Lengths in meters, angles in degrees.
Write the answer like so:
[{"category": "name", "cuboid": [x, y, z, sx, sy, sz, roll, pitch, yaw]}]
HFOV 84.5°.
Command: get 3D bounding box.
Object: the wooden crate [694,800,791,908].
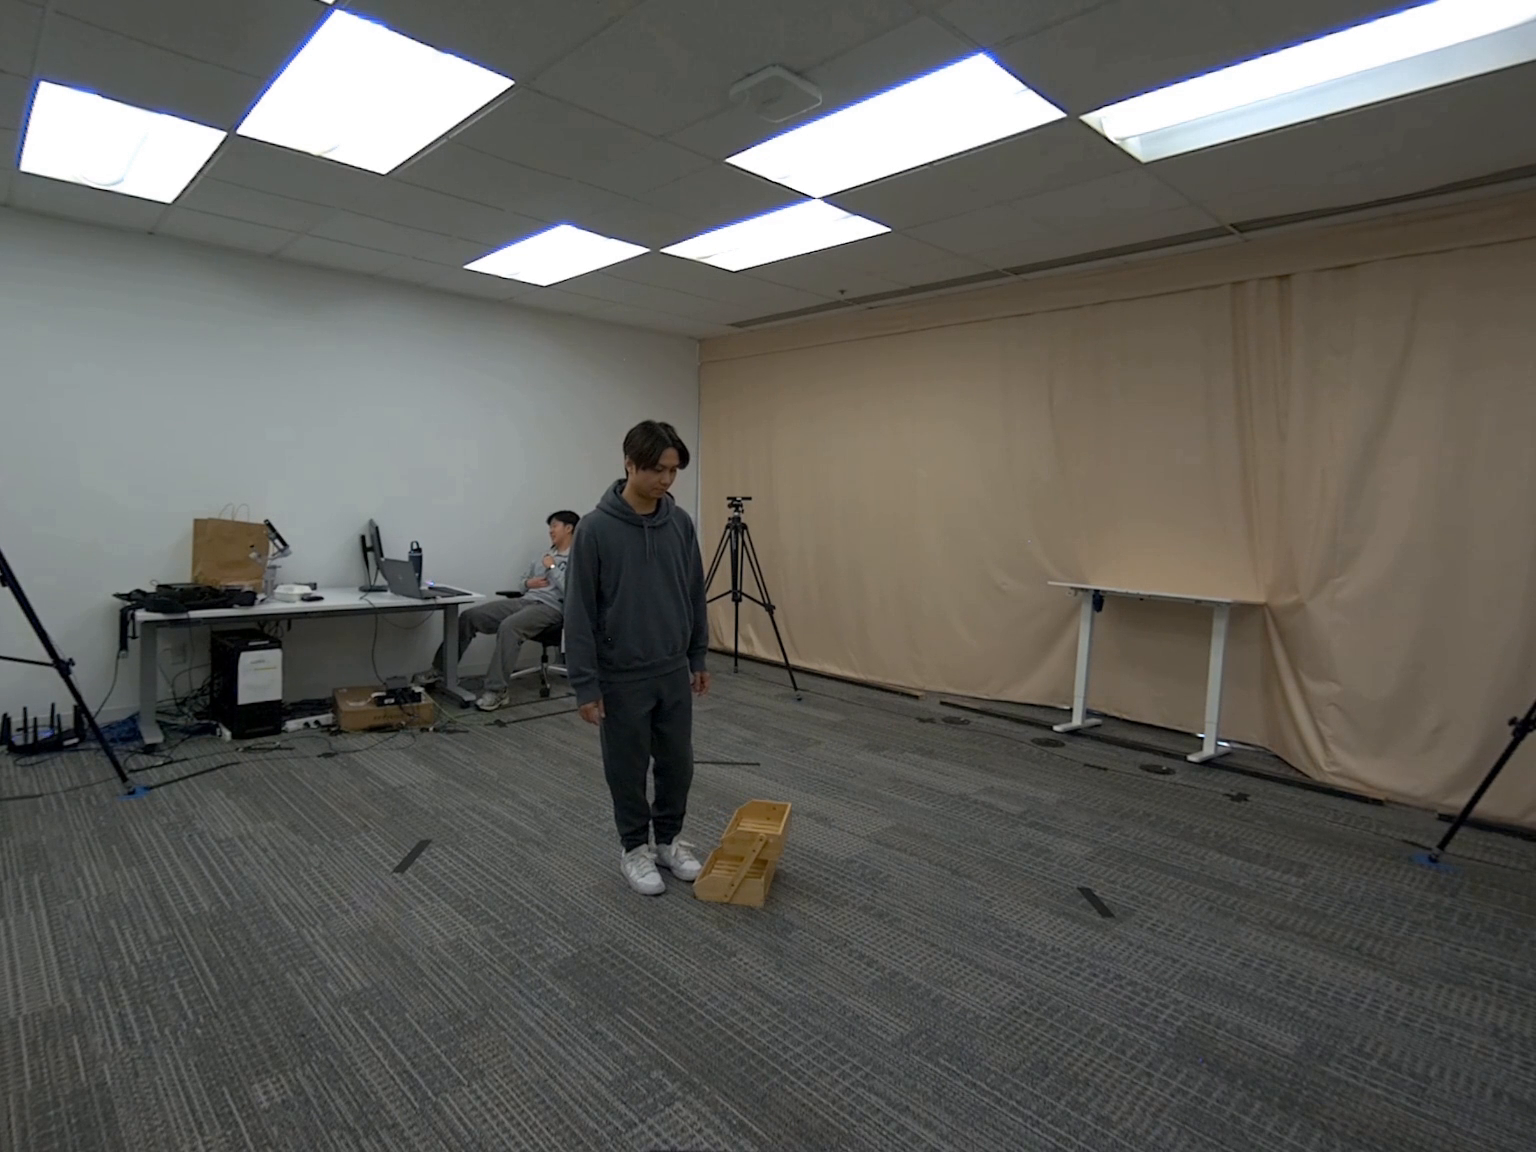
[{"category": "wooden crate", "cuboid": [-0.097, 0.984, 3.018, 0.304, 0.272, 0.323, 2, 4, 9]}]
